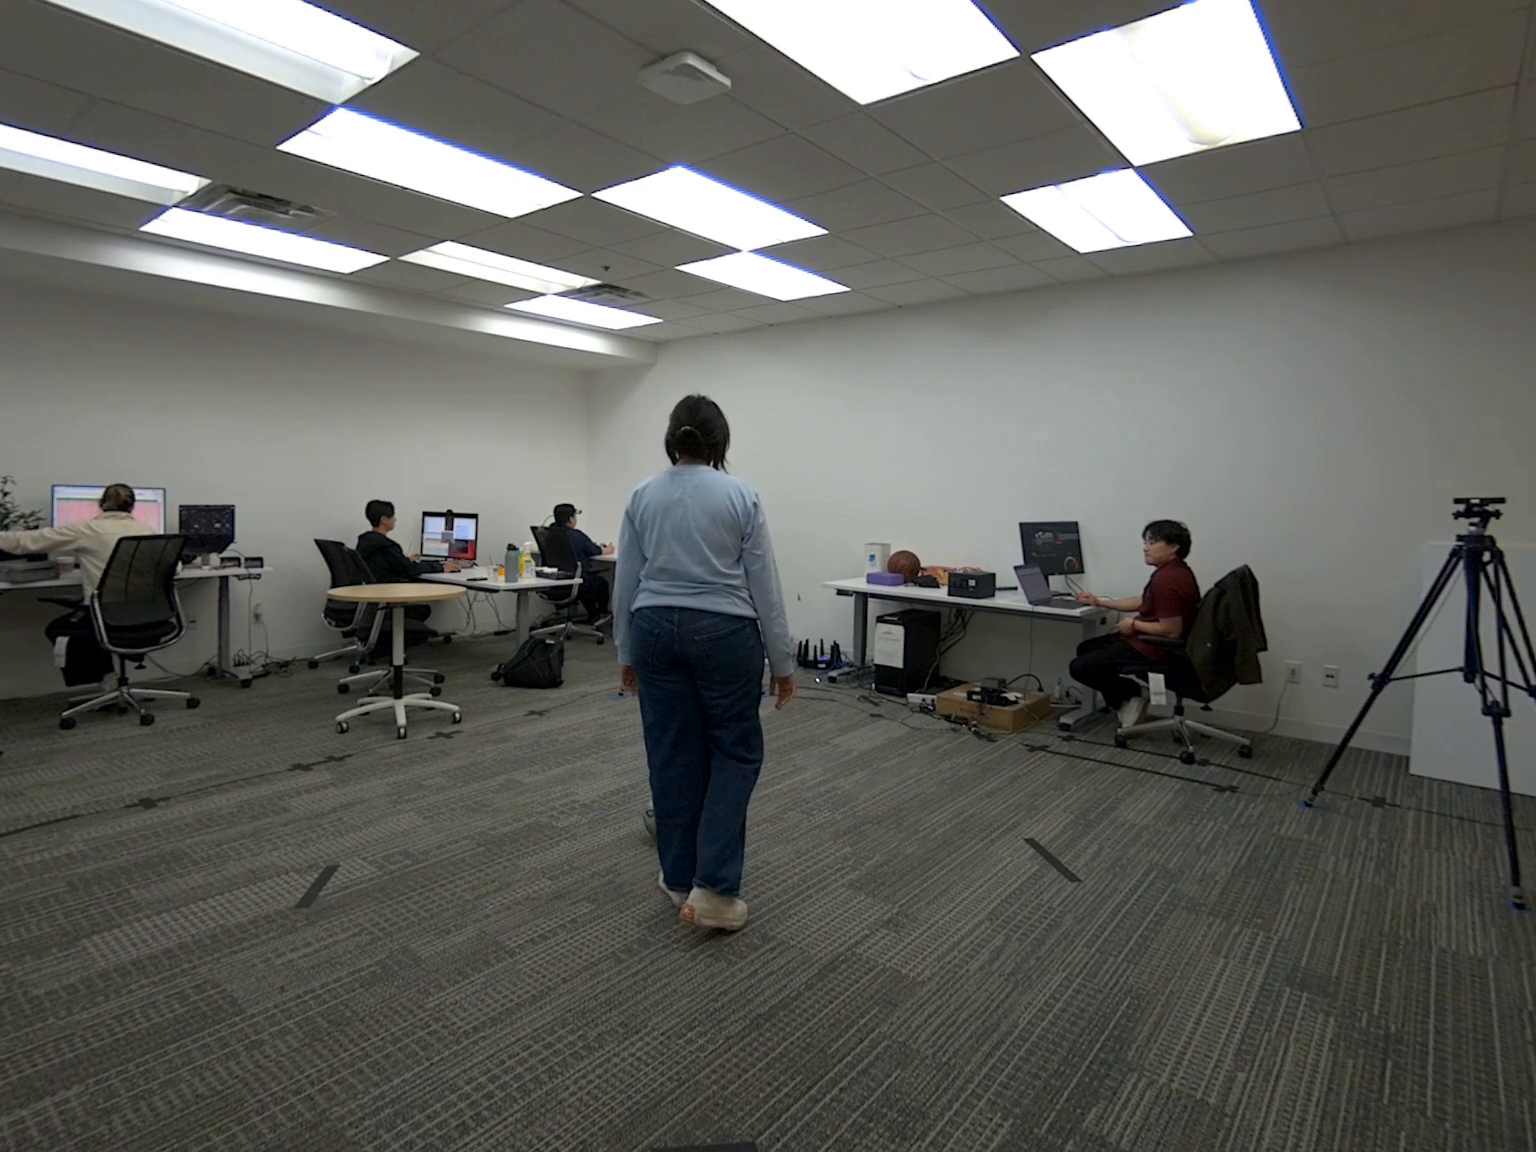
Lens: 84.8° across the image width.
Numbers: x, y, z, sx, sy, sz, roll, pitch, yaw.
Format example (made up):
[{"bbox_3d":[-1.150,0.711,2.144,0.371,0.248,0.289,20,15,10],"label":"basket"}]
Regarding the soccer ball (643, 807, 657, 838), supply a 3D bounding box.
[{"bbox_3d":[-0.405,0.943,3.369,0.187,0.187,0.188,1,4,-2],"label":"soccer ball"}]
